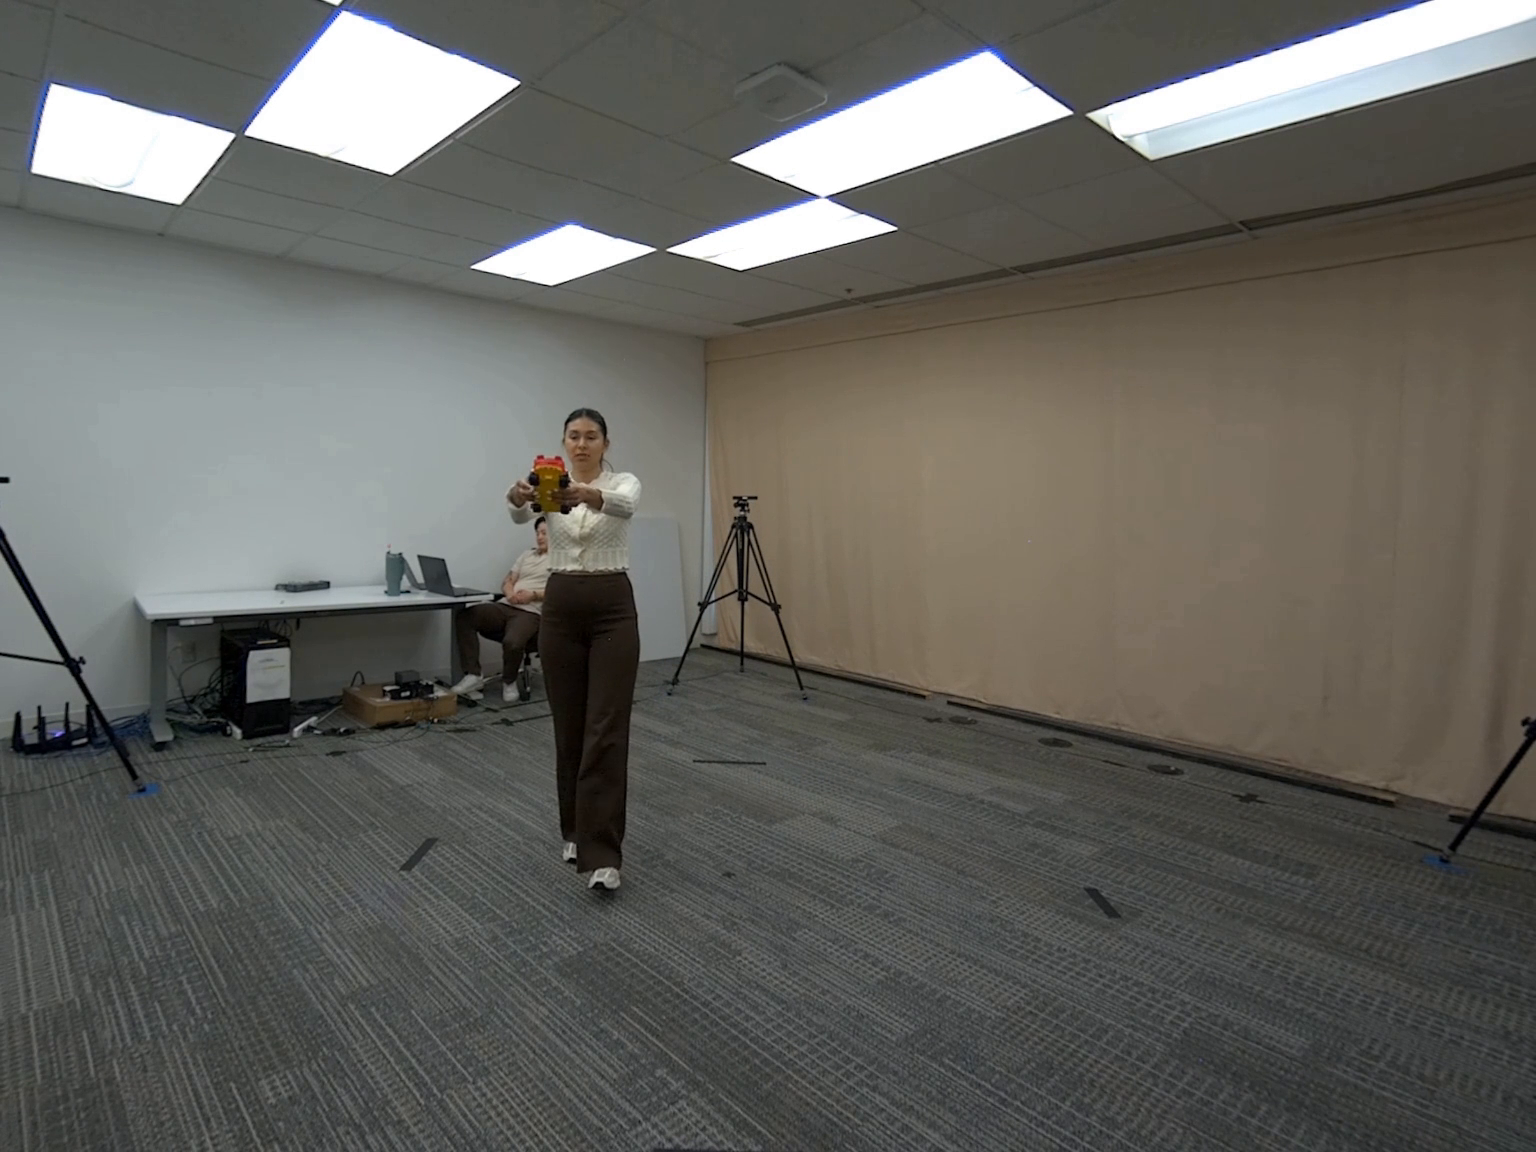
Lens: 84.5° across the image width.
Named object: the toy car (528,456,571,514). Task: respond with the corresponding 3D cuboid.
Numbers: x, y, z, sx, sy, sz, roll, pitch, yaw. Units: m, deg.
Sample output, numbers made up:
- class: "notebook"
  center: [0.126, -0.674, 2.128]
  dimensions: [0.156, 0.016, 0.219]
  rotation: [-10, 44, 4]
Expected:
- class: "toy car"
  center: [-0.691, -0.277, 2.580]
  dimensions: [0.129, 0.250, 0.085]
  rotation: [3, 46, -9]
